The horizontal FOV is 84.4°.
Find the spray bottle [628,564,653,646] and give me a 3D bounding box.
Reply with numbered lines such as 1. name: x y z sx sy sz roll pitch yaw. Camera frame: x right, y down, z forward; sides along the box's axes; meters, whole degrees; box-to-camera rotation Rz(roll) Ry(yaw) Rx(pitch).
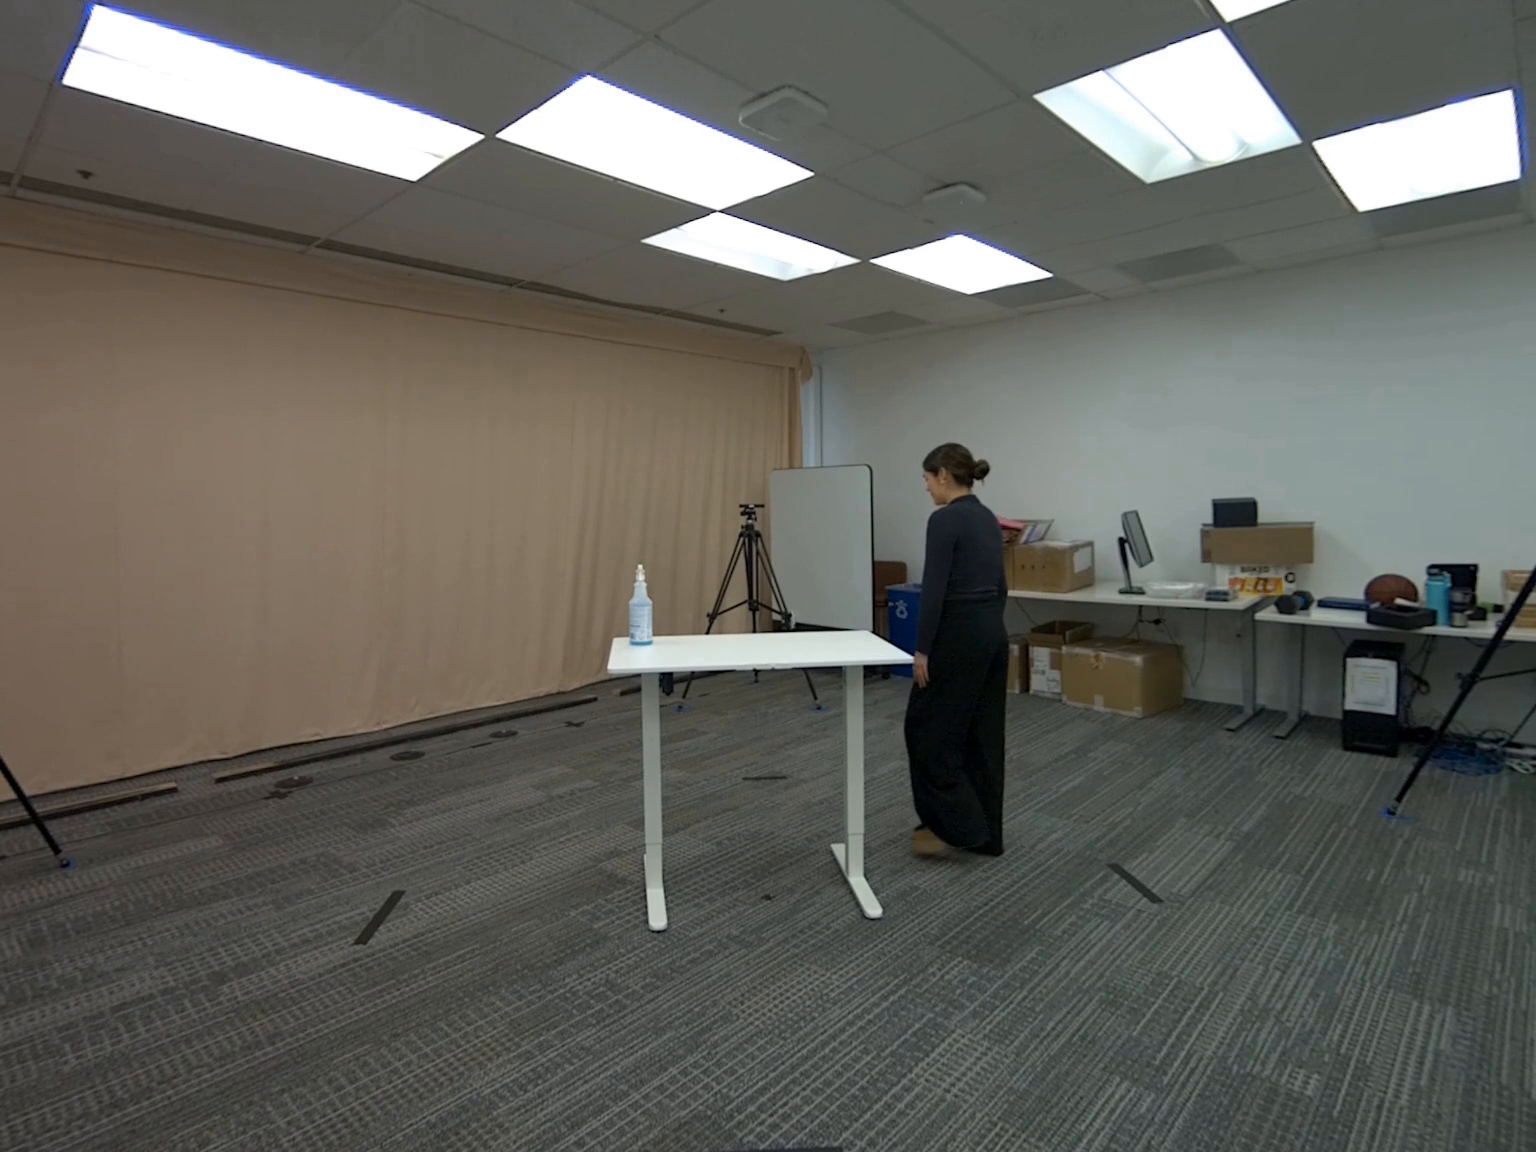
1. spray bottle: -0.472 0.109 3.126 0.089 0.297 0.088 0 3 17
